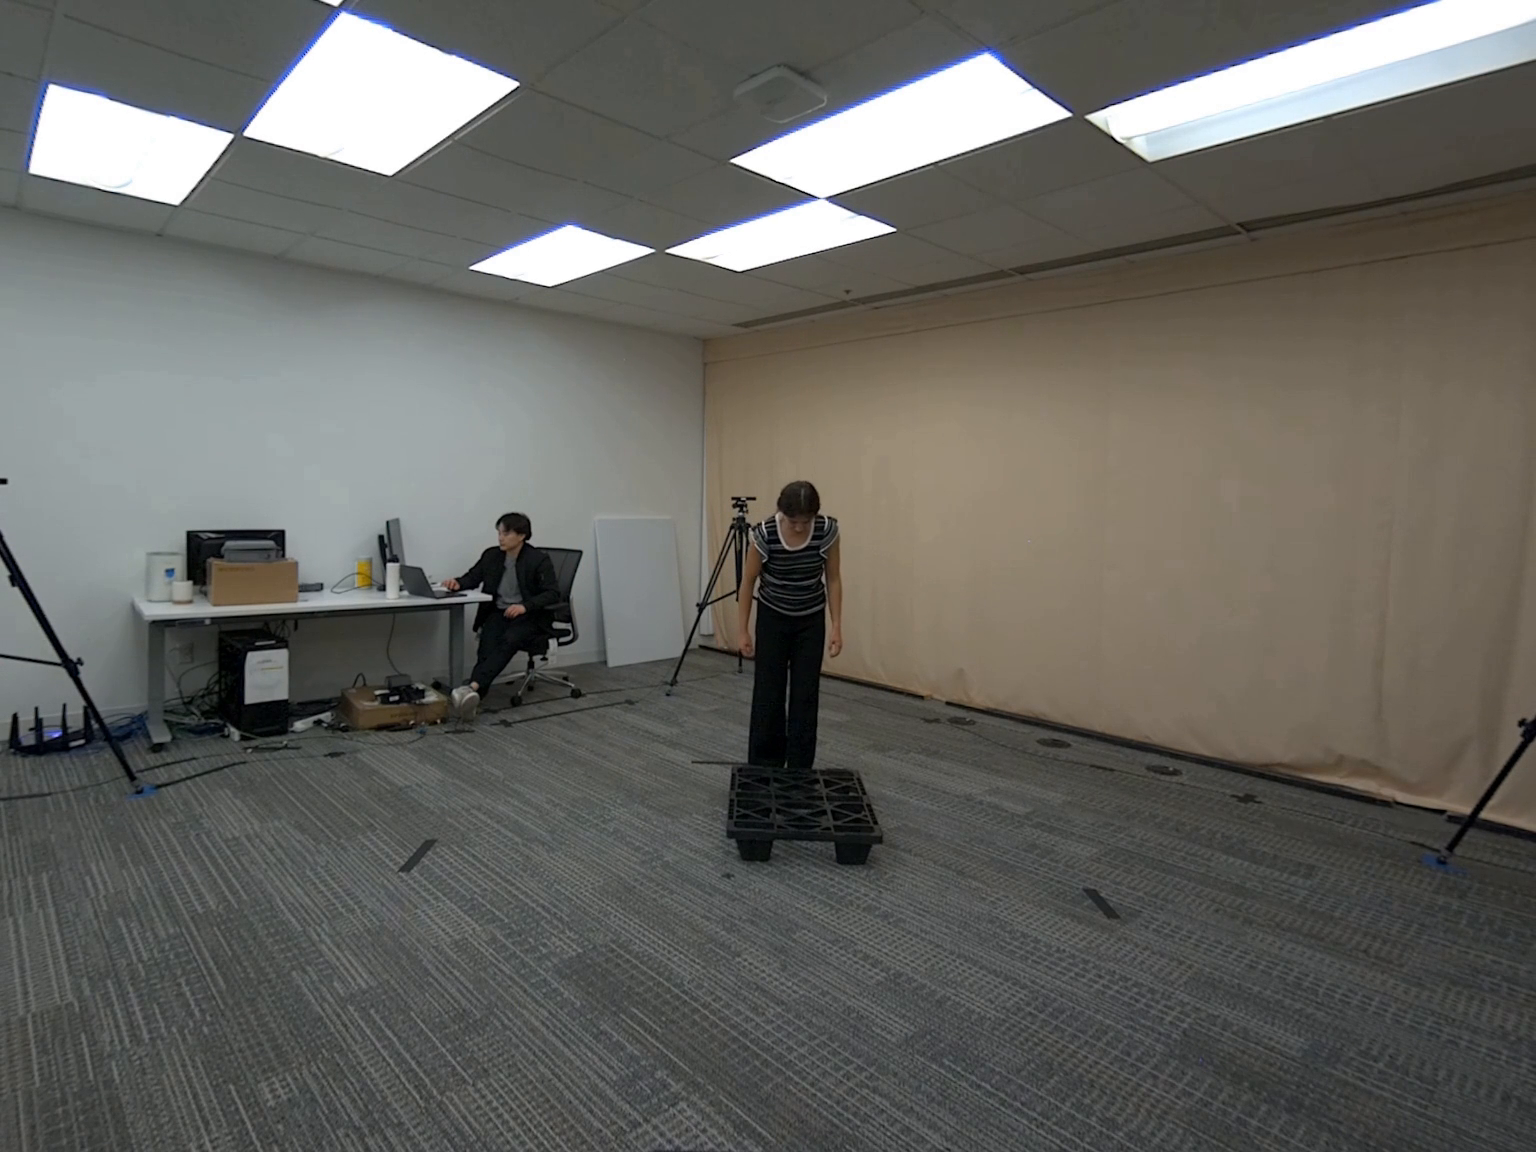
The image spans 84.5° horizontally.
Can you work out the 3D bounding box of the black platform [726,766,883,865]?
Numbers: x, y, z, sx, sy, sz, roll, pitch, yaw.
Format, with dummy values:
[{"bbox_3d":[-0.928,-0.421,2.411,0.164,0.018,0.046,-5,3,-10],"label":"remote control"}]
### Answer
[{"bbox_3d":[0.122,1.003,3.590,0.605,0.143,0.807,2,5,0],"label":"black platform"}]
